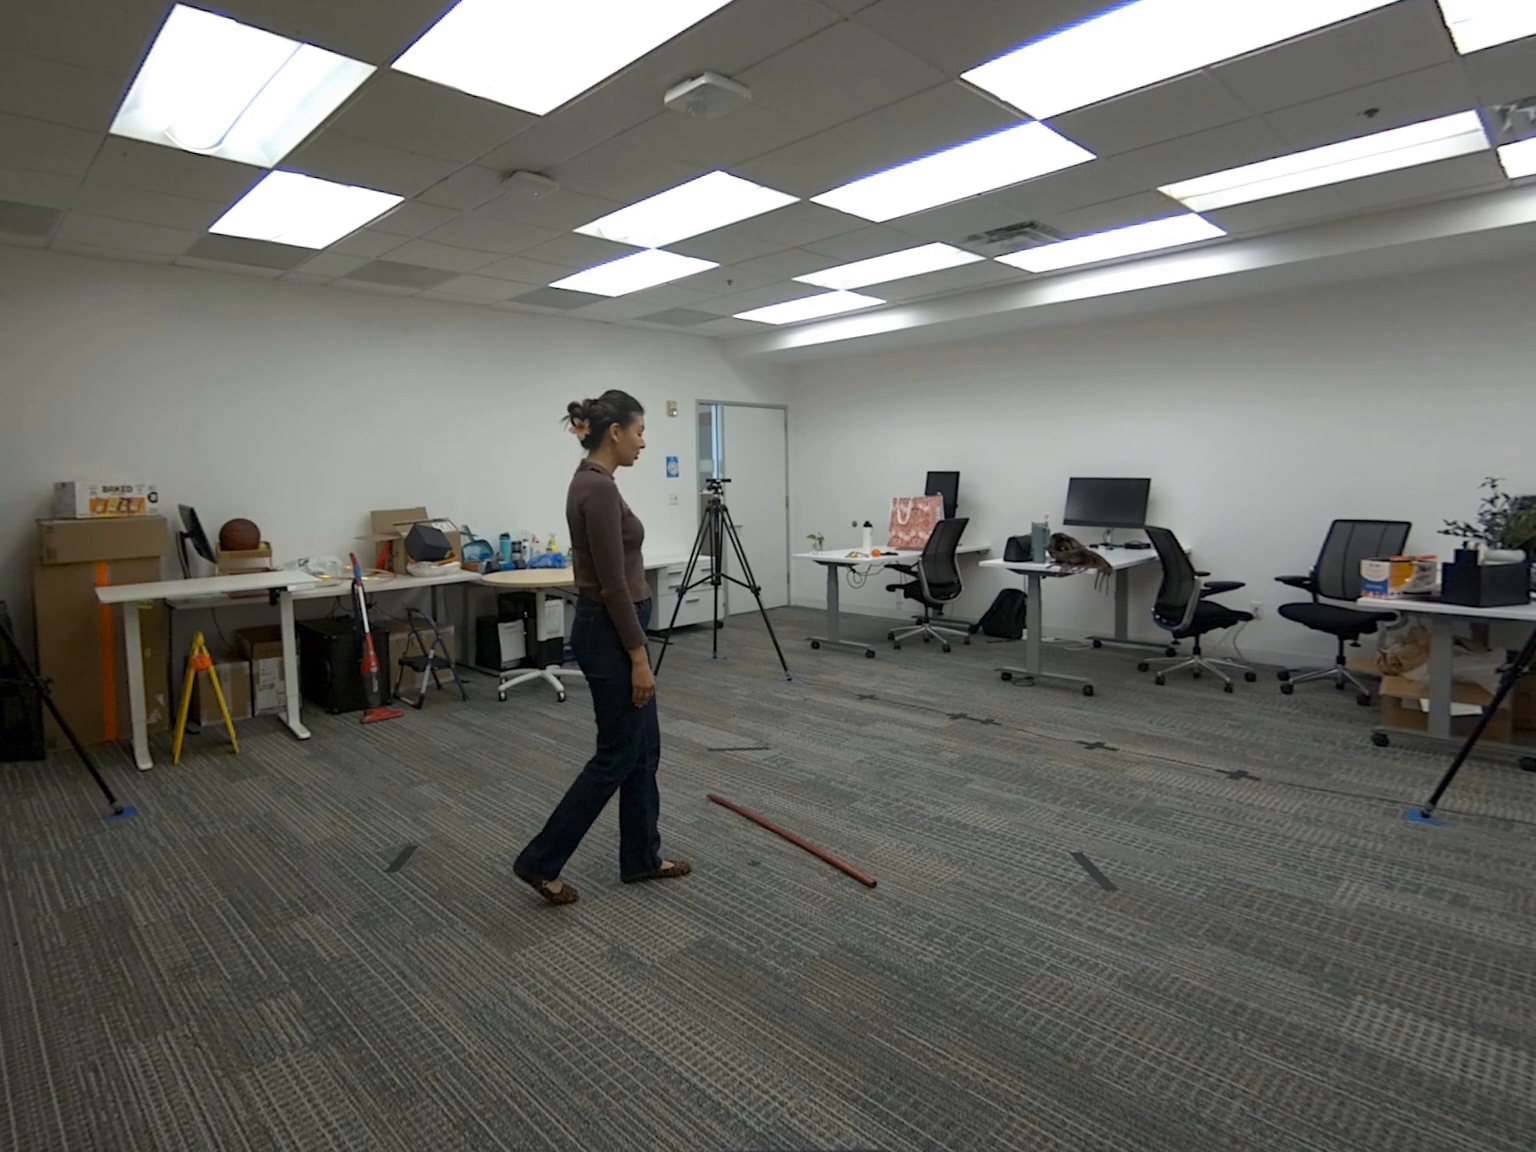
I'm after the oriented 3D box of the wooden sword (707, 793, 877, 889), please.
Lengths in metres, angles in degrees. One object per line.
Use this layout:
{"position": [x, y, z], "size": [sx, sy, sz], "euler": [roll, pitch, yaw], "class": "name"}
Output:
{"position": [0.054, 0.997, 3.322], "size": [0.049, 0.024, 1.055], "euler": [38, -17, -31], "class": "wooden sword"}
